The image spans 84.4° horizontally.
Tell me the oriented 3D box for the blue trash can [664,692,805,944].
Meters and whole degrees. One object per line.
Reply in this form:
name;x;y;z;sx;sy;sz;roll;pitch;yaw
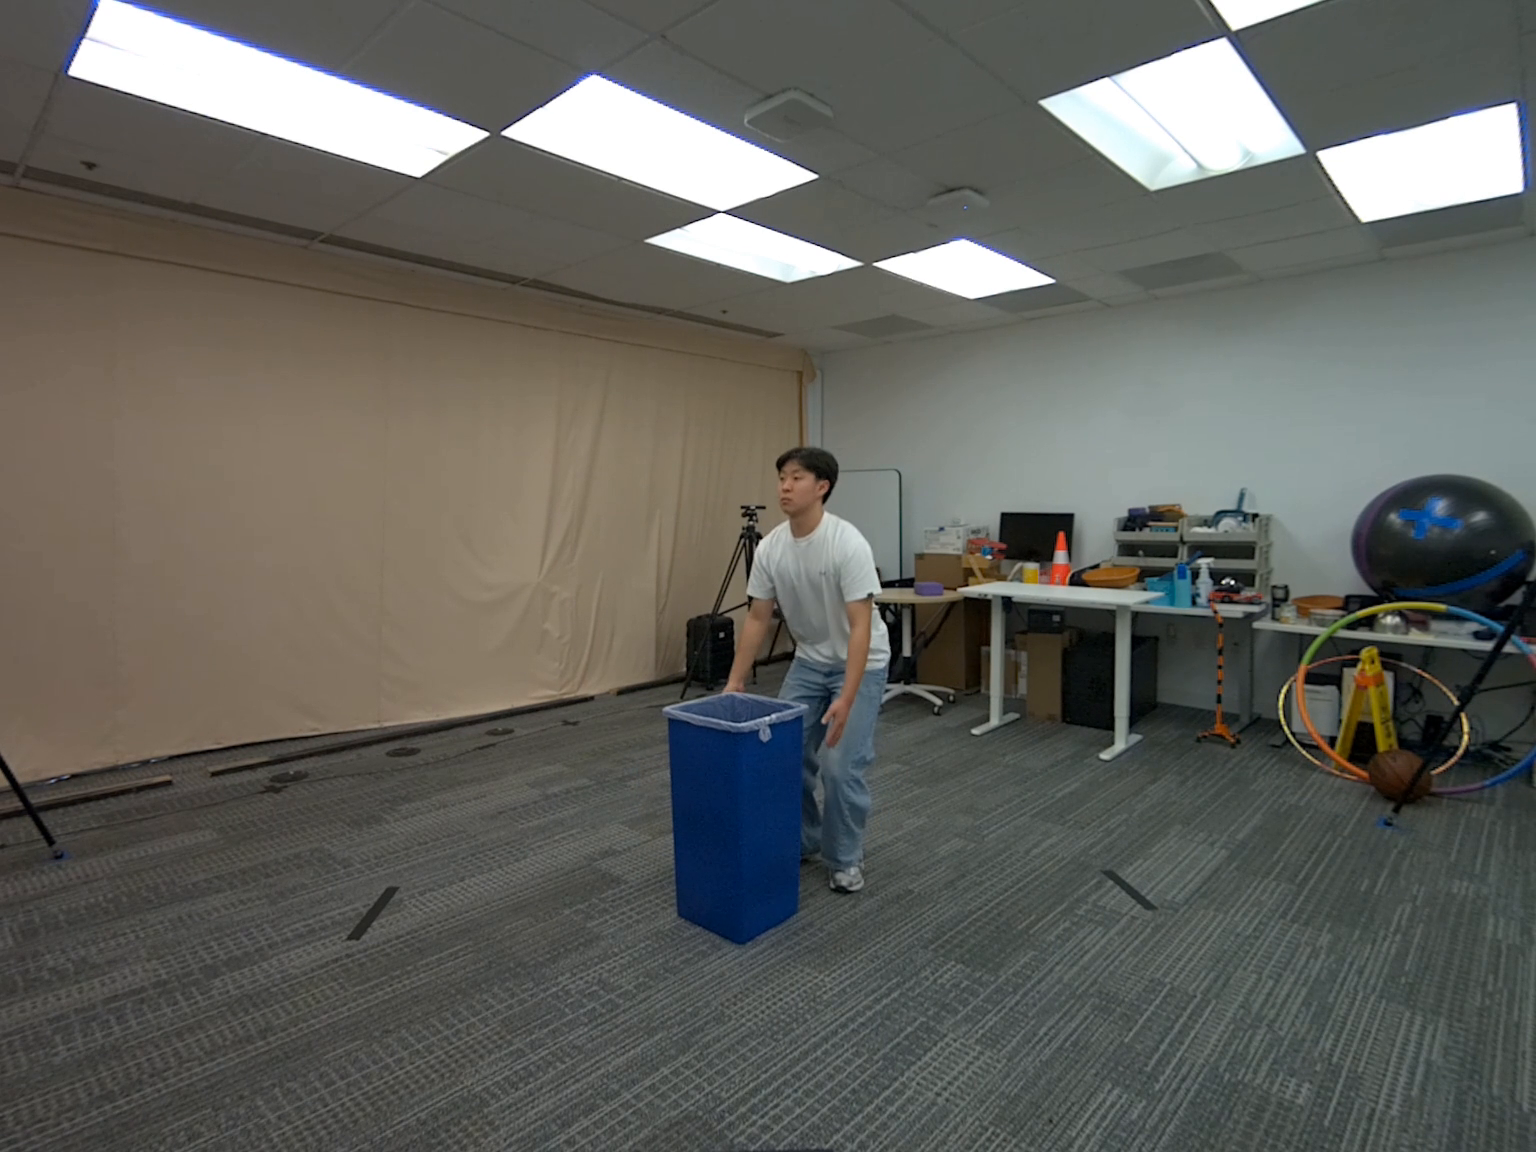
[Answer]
blue trash can;-0.113;0.798;2.857;0.386;0.712;0.366;3;4;41
